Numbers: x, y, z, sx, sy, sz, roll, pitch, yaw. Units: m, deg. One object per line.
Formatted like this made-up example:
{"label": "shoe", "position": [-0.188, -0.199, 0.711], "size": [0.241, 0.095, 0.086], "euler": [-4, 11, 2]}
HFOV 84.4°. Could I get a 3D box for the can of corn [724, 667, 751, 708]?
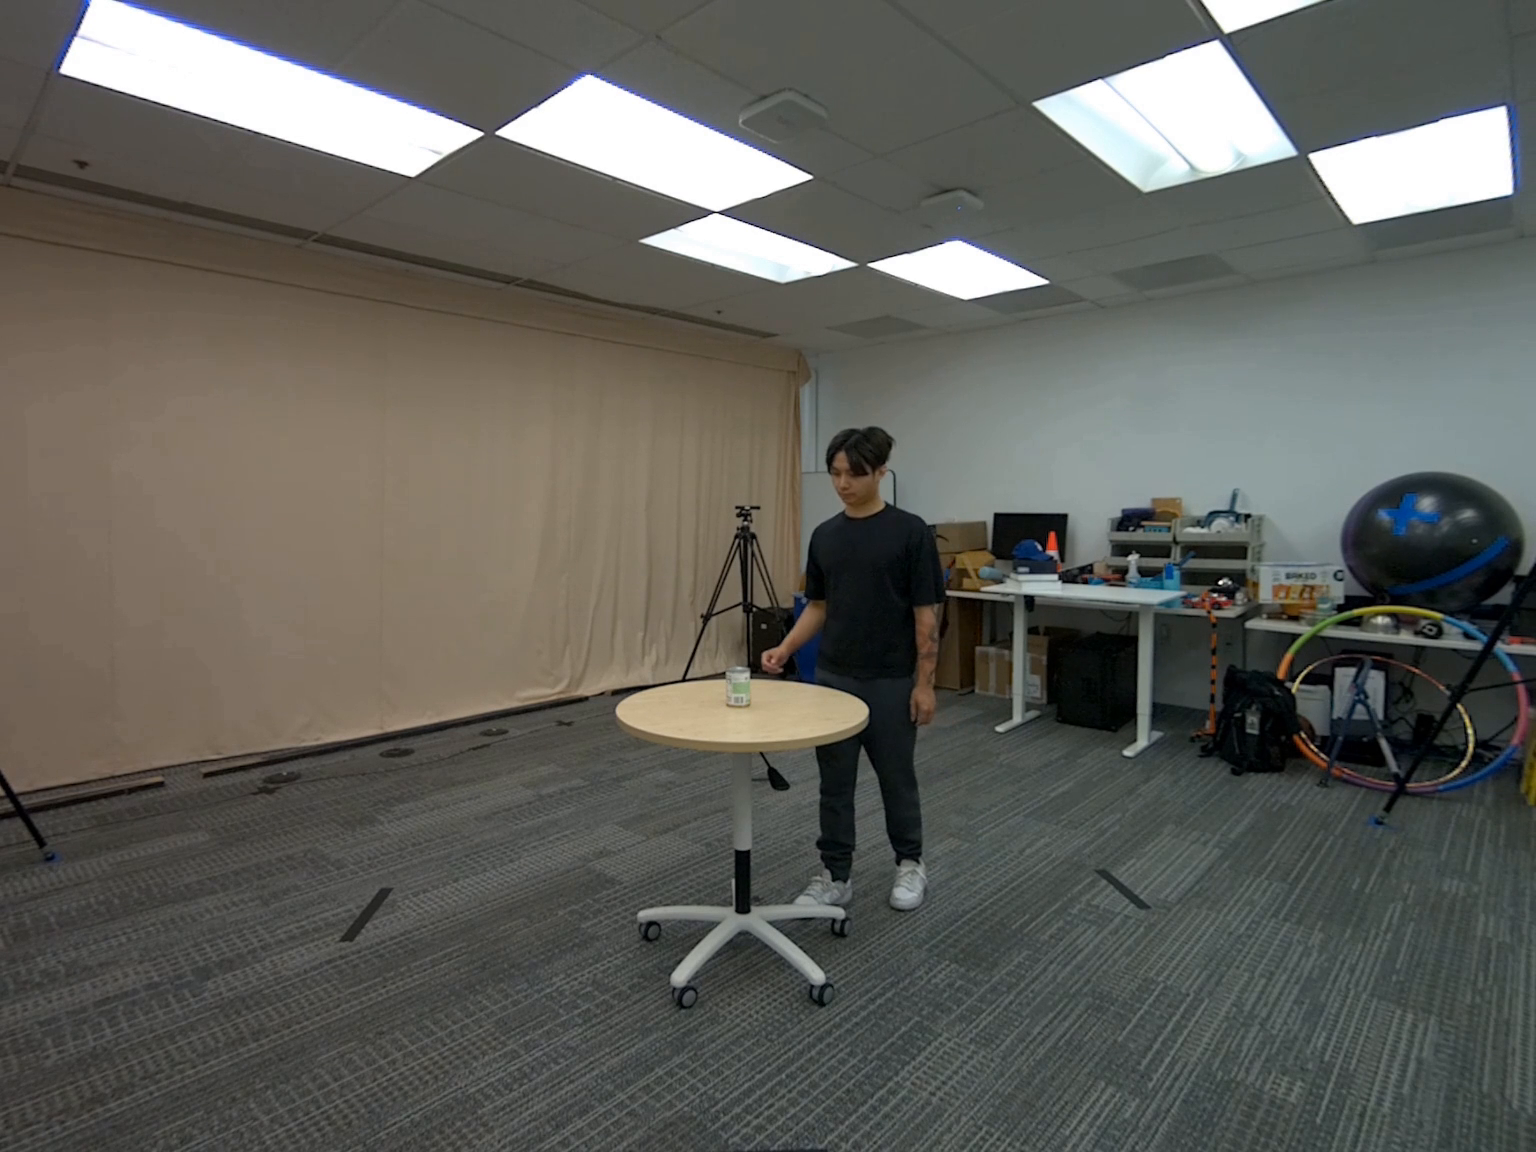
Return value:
{"label": "can of corn", "position": [-0.084, 0.344, 2.575], "size": [0.074, 0.111, 0.074], "euler": [-4, 3, -2]}
